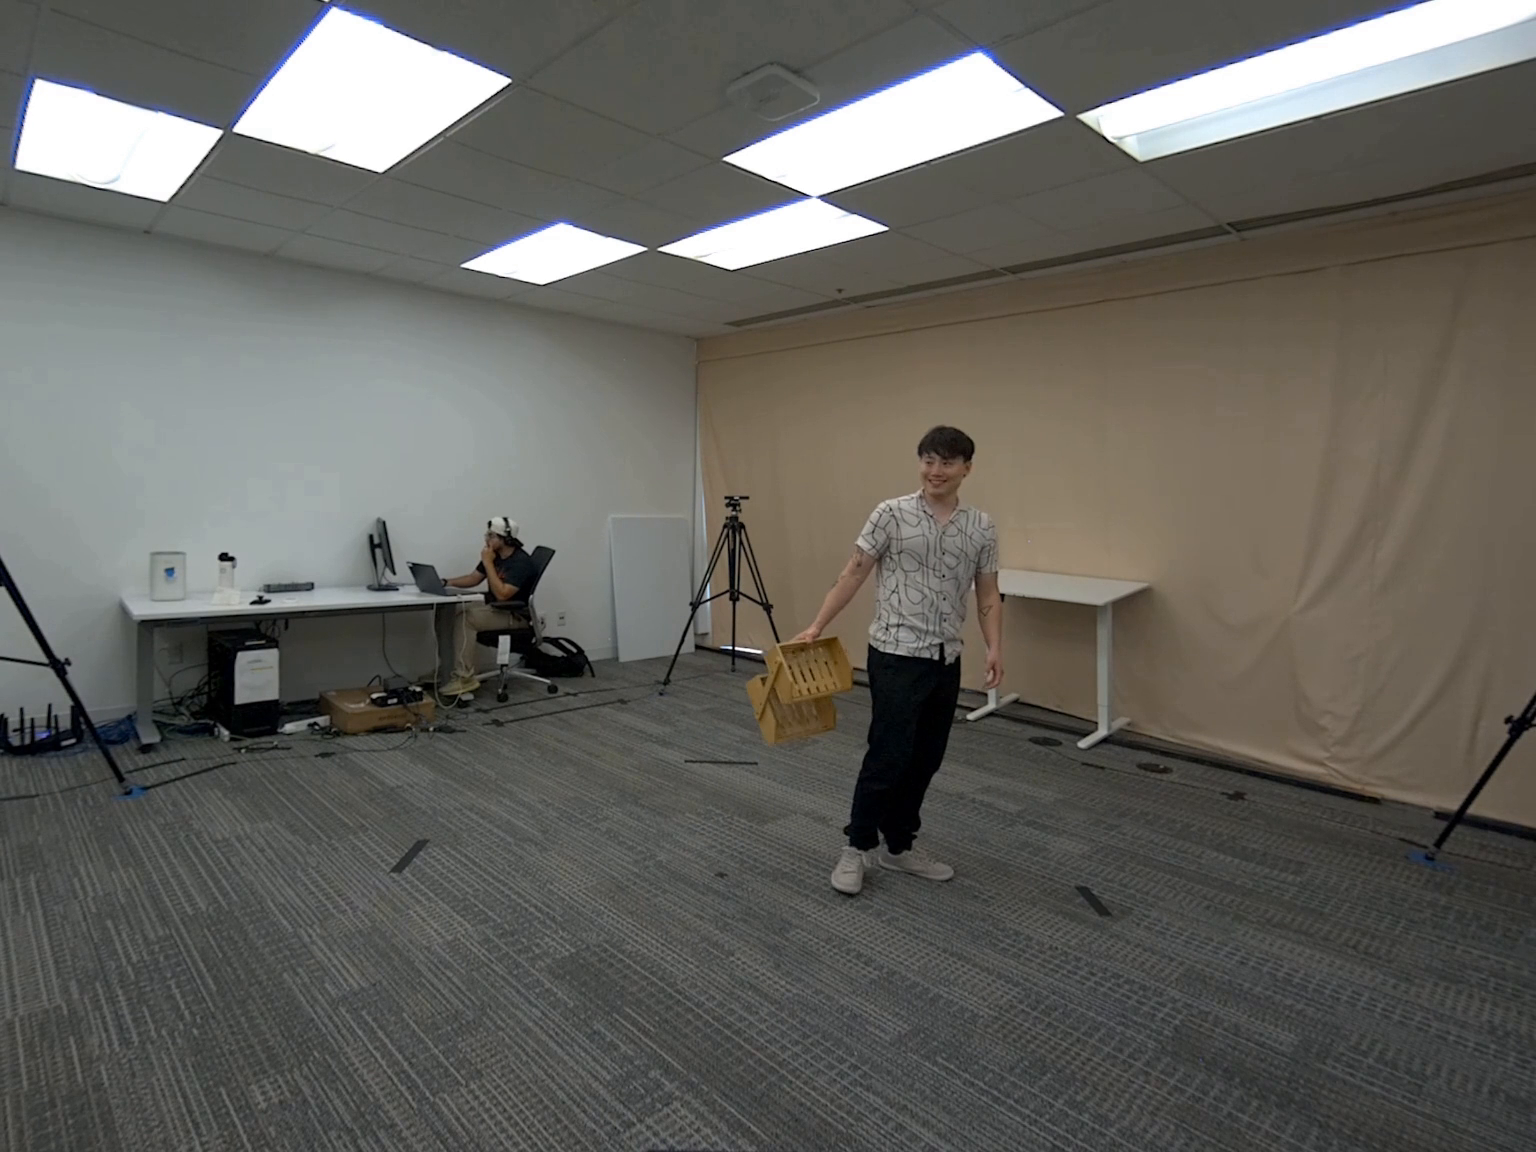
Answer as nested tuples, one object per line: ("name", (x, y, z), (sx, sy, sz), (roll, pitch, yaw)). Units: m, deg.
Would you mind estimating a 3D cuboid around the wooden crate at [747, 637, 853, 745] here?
("wooden crate", (0.126, 0.412, 3.094), (0.318, 0.308, 0.273), (-4, -27, -35))
